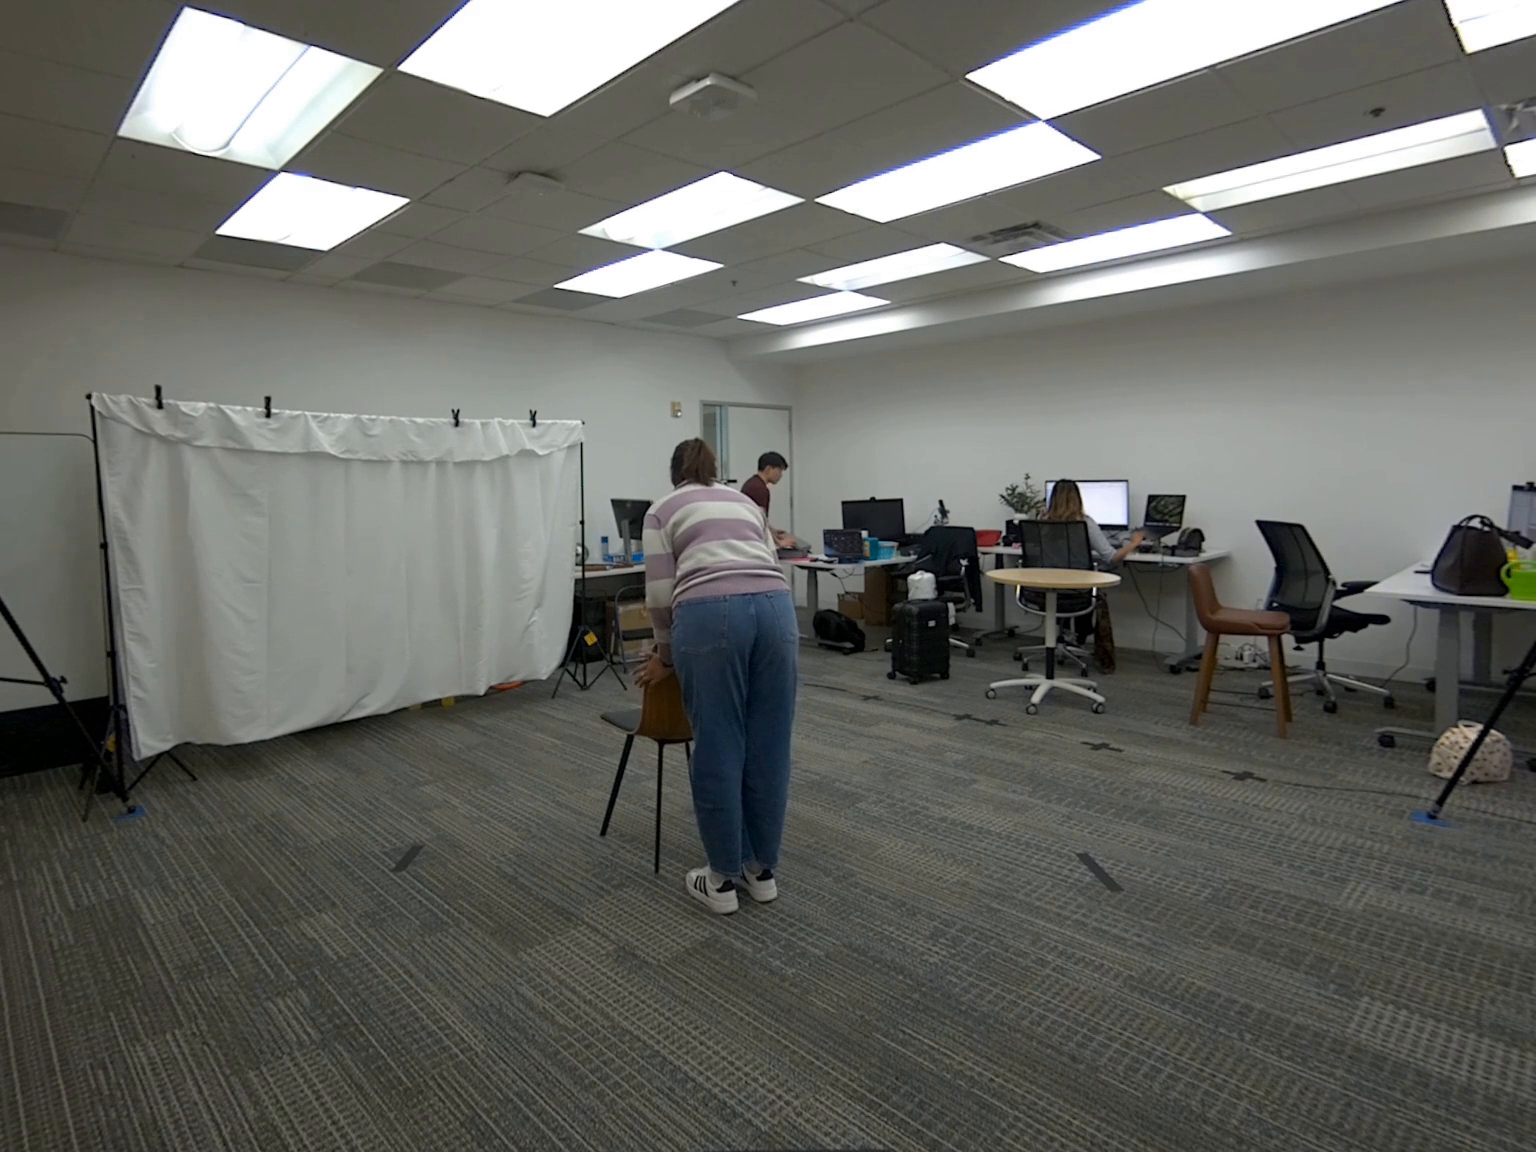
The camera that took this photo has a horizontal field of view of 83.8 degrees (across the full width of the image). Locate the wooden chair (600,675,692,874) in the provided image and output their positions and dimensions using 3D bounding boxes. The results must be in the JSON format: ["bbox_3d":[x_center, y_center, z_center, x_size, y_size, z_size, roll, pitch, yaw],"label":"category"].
[{"bbox_3d":[-0.374,0.596,3.308,0.466,0.873,0.539,-4,7,-35],"label":"wooden chair"}]
